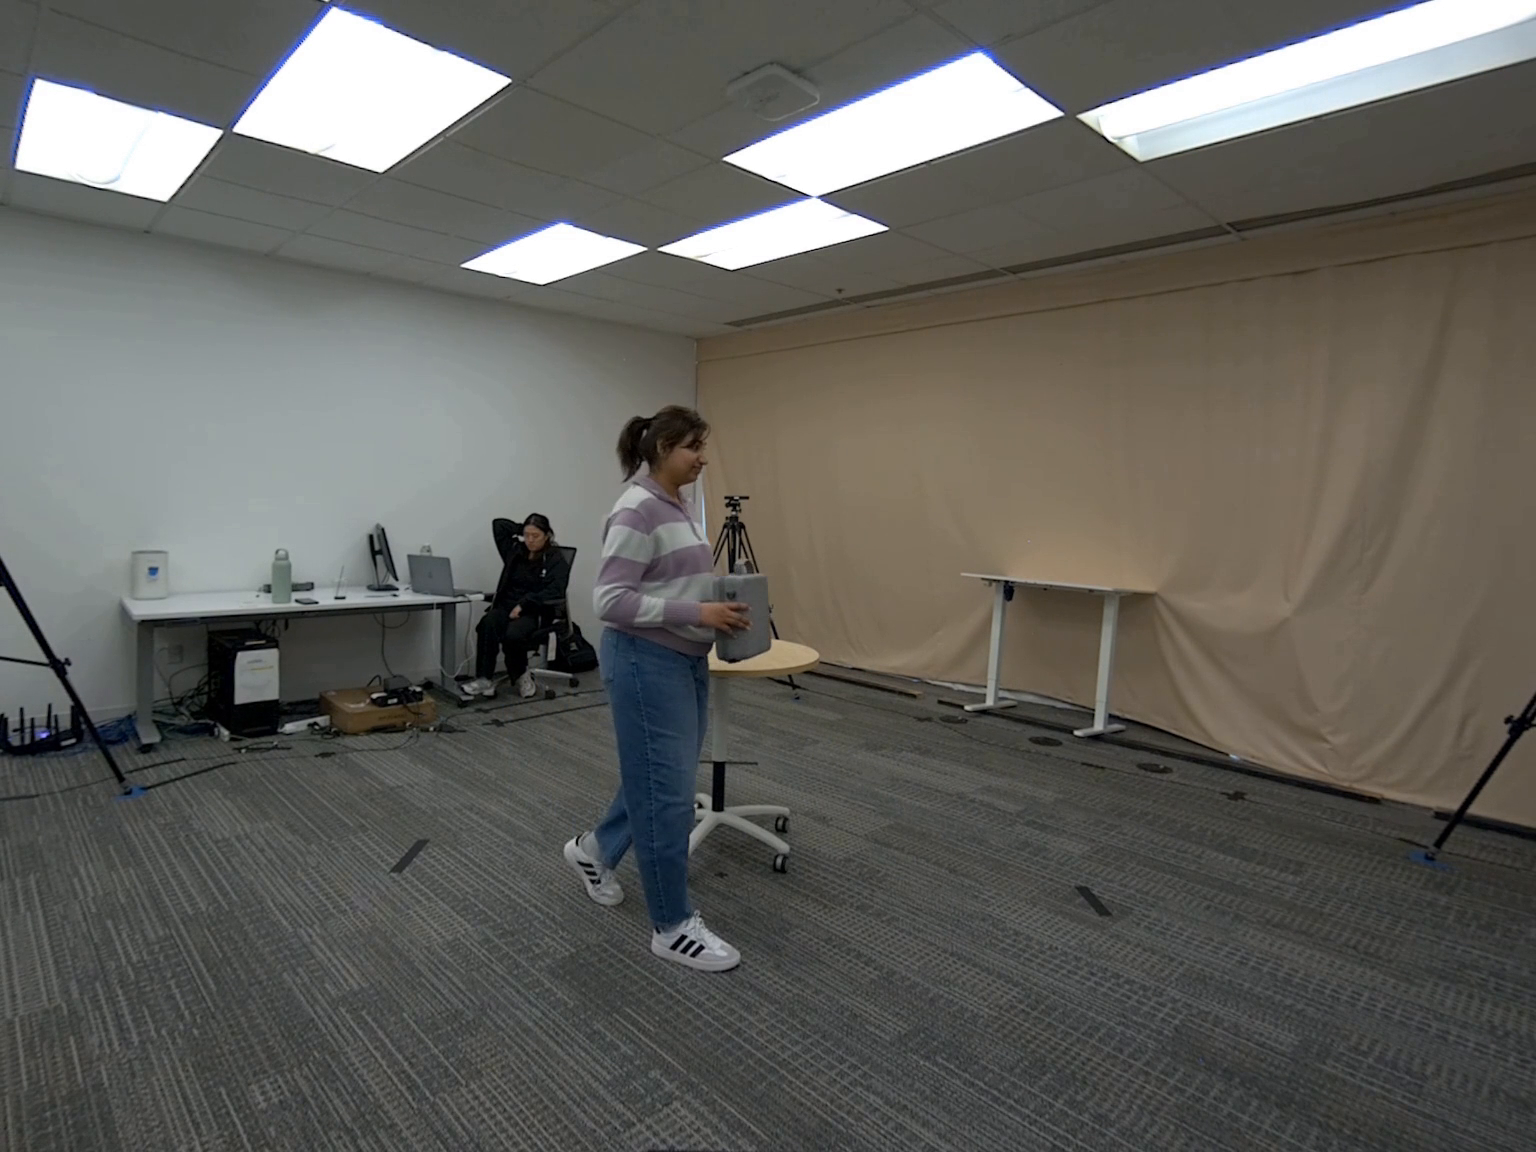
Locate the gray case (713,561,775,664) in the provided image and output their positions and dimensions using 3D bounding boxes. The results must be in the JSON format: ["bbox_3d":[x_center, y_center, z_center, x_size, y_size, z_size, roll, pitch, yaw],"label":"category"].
[{"bbox_3d":[-0.093,0.118,2.557,0.106,0.260,0.253,1,3,22],"label":"gray case"}]
